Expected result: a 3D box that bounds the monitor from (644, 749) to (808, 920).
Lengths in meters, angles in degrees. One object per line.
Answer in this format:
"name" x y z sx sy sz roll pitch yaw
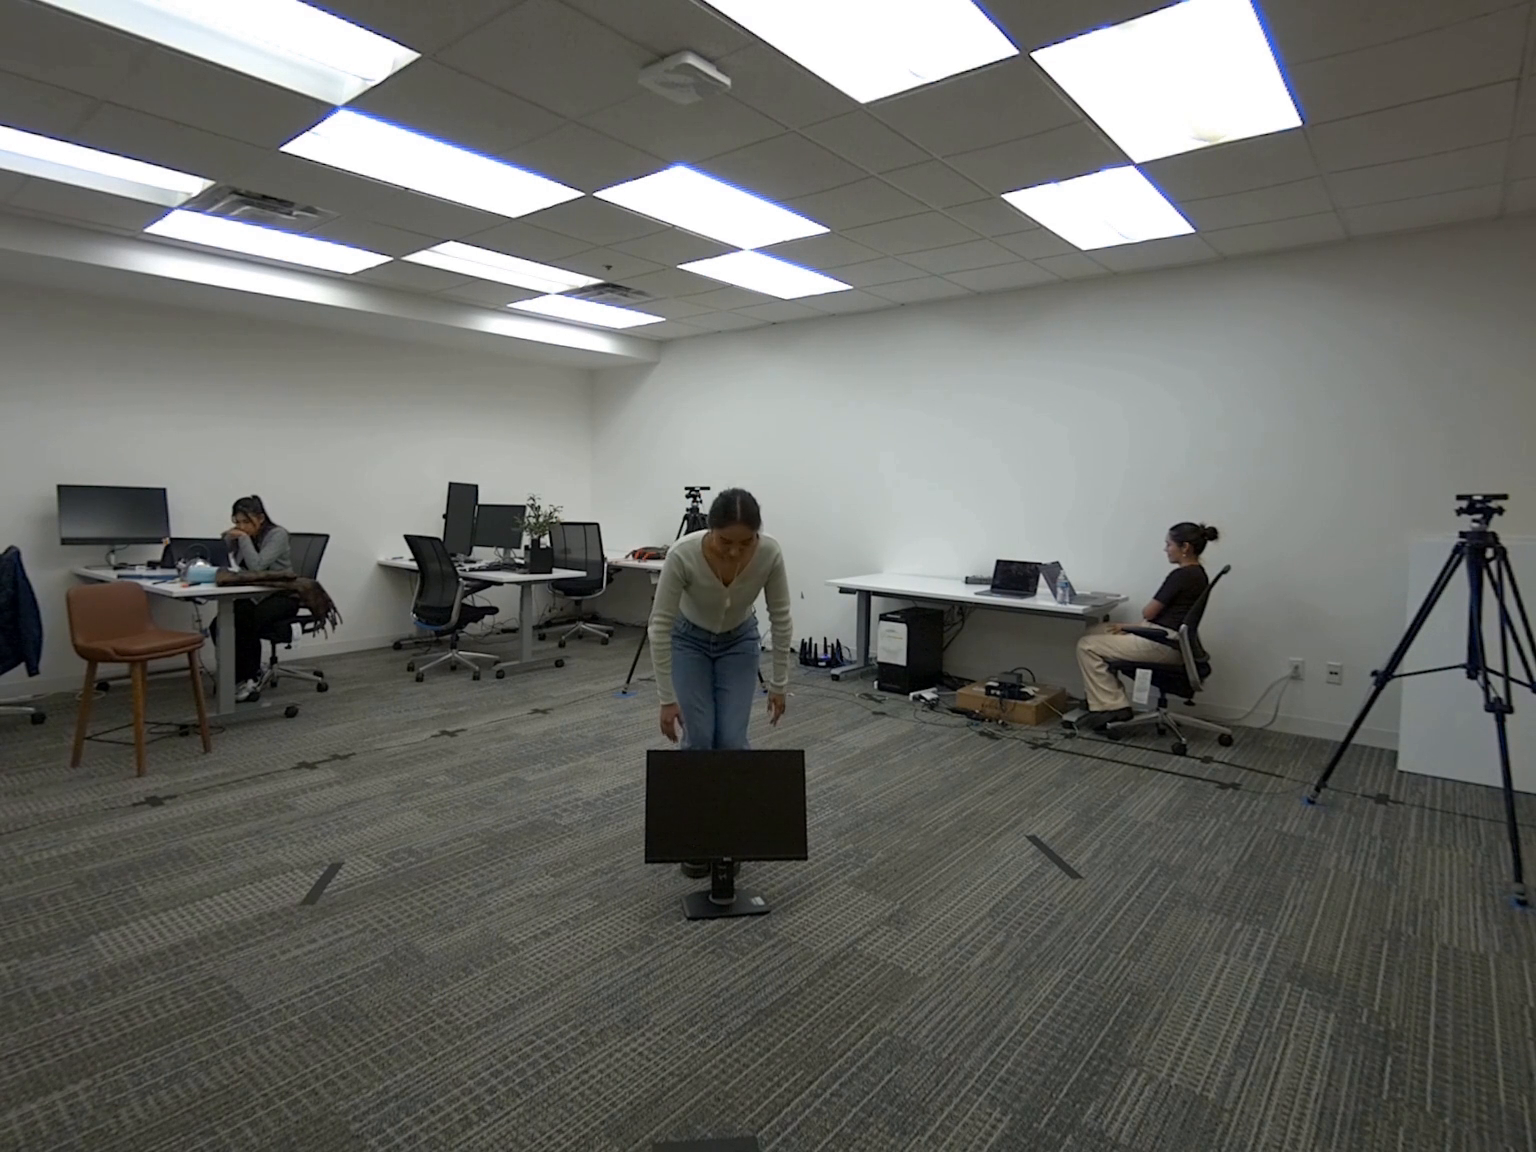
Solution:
"monitor" -0.150 0.836 2.831 0.525 0.514 0.177 1 3 -9
